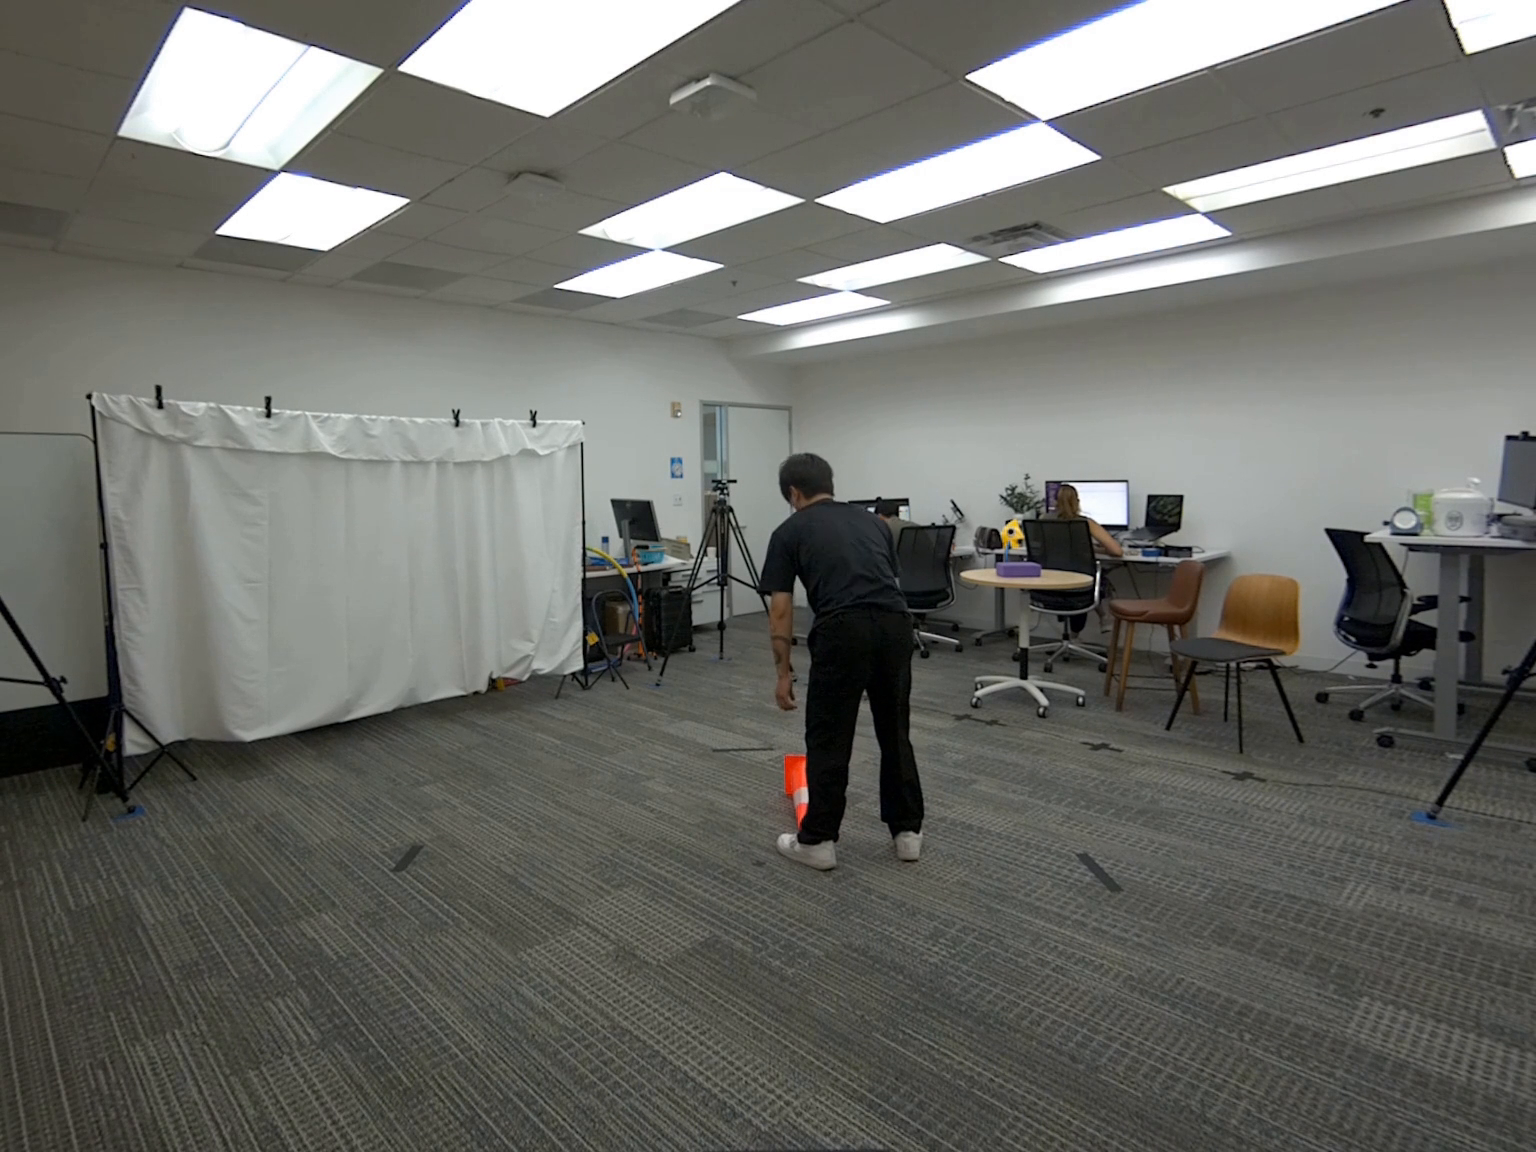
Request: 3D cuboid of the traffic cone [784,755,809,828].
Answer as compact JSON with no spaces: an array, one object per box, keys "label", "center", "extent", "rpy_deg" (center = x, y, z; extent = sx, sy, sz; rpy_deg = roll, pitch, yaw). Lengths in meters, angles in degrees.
[{"label":"traffic cone","center":[0.168,0.953,3.573],"extent":[0.206,0.200,0.389],"rpy_deg":[2,22,4]}]
